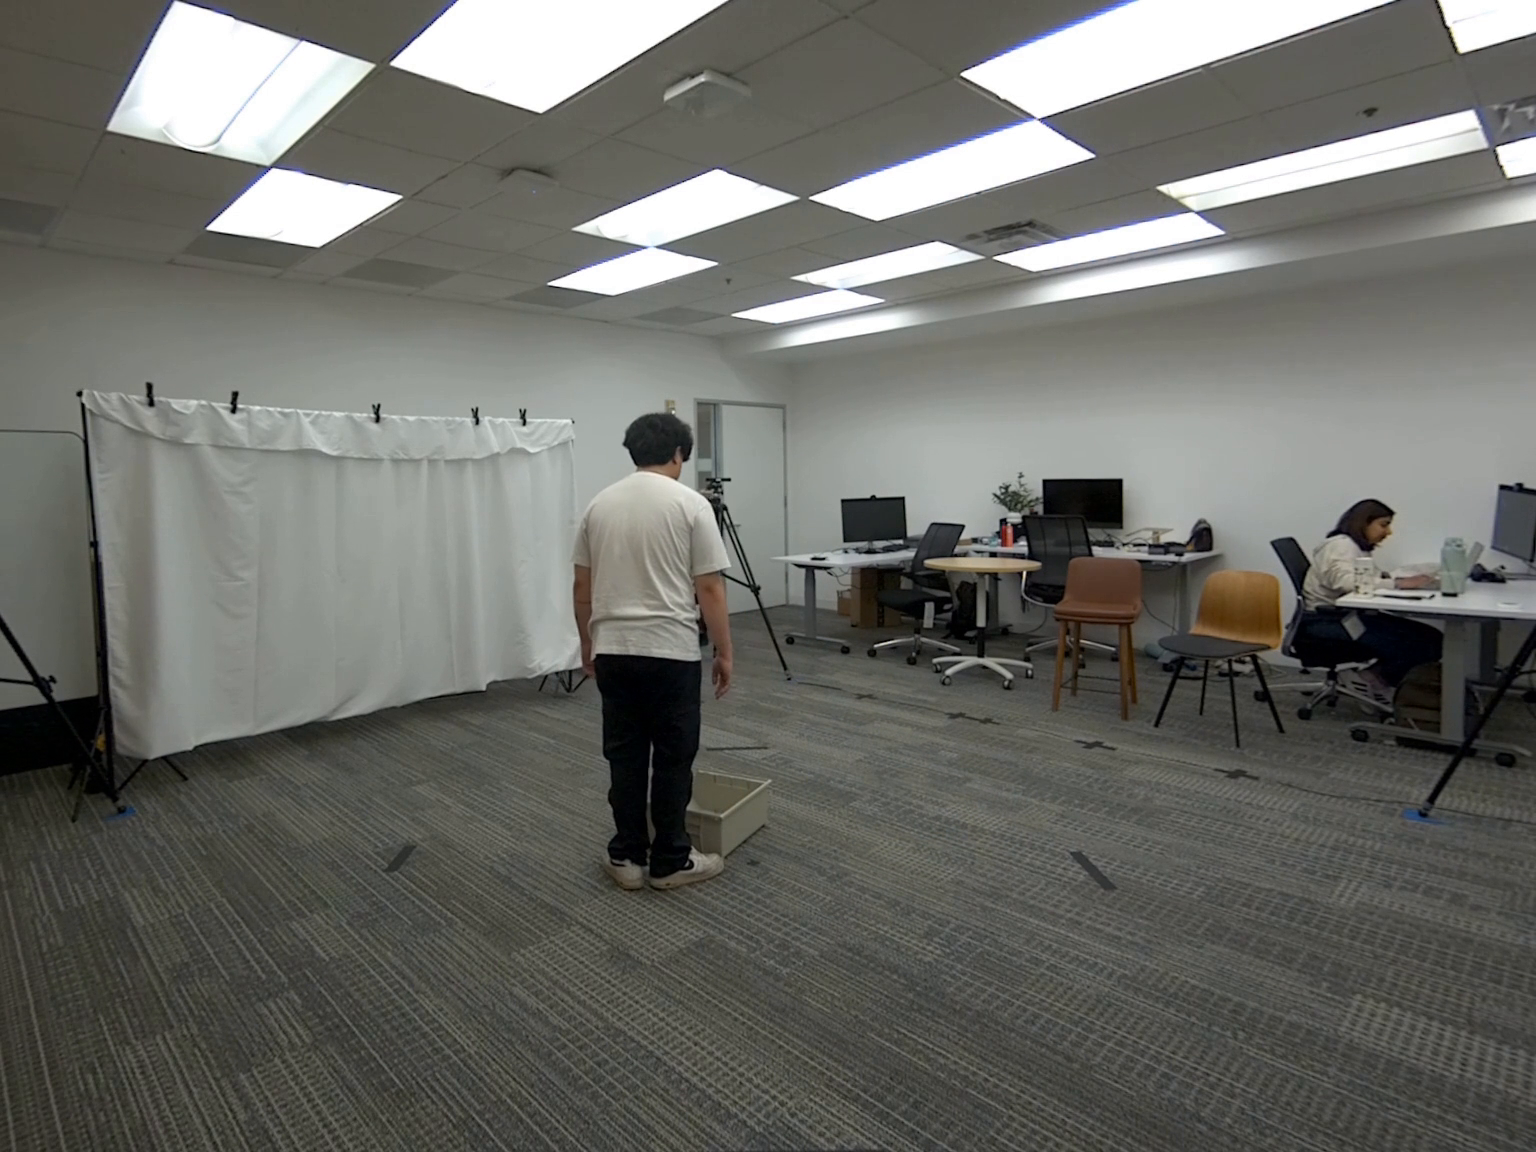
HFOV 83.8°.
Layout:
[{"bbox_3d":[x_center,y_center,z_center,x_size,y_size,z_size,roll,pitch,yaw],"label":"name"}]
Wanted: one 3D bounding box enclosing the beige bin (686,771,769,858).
[{"bbox_3d":[-0.244,0.927,3.357,0.387,0.188,0.414,3,7,26],"label":"beige bin"}]
